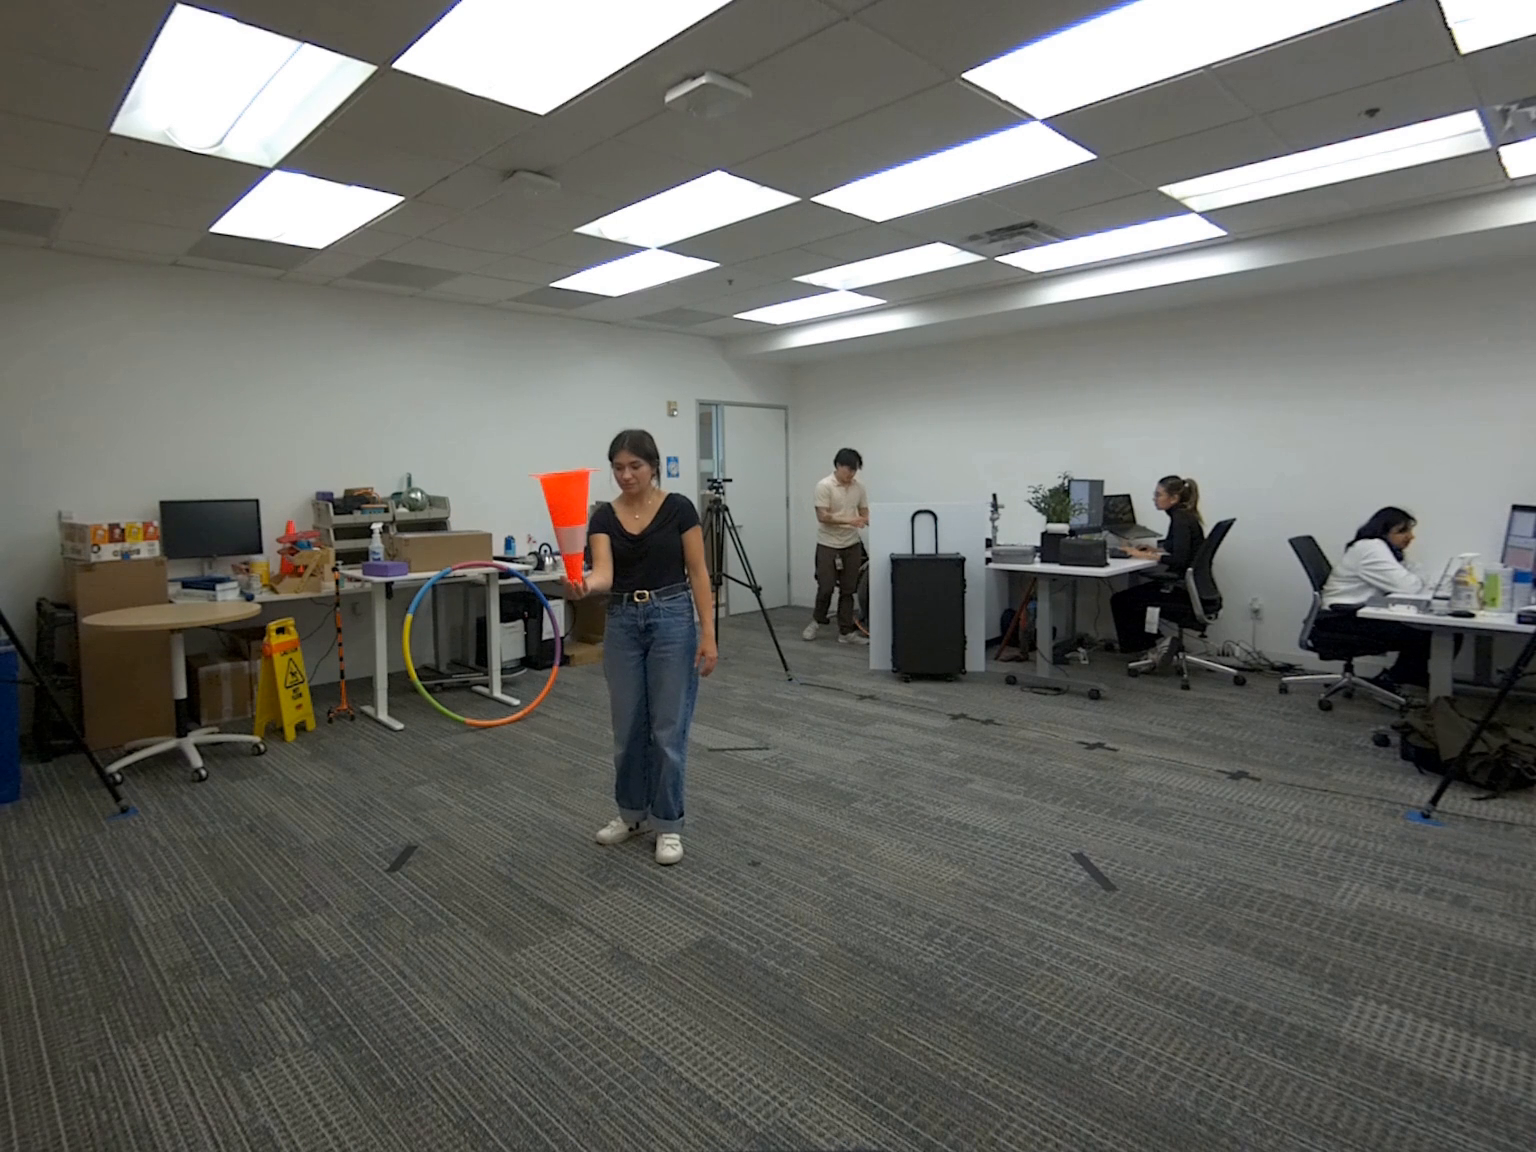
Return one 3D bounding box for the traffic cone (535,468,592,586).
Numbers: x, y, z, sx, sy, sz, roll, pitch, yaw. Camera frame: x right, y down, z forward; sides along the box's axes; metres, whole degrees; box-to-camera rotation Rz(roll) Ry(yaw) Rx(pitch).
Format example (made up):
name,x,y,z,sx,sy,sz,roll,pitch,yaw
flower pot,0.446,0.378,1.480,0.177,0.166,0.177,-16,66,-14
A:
name,x,y,z,sx,sy,sz,roll,pitch,yaw
traffic cone,-0.633,-0.143,2.730,0.206,0.381,0.204,-5,7,3
